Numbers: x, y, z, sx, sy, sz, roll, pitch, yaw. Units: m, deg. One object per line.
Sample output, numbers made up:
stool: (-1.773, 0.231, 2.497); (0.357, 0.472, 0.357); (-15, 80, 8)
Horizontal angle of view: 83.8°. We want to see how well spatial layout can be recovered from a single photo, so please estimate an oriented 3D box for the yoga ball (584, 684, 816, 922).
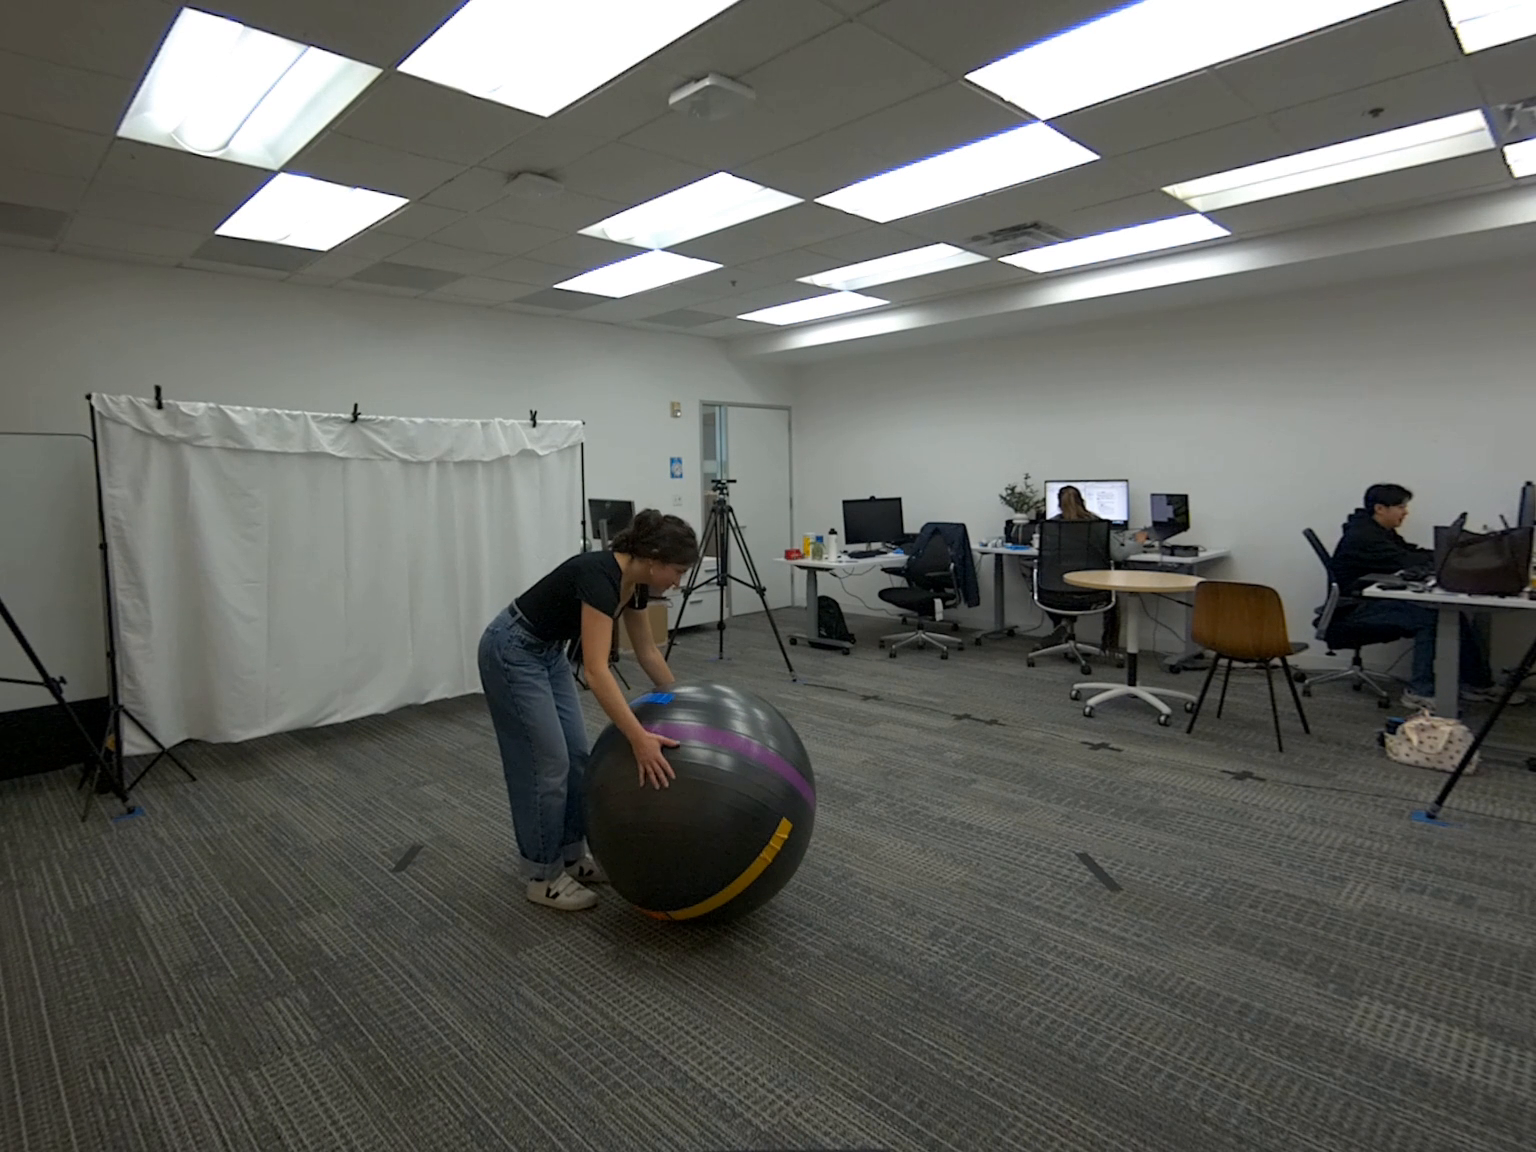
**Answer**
yoga ball: (-0.216, 0.719, 2.770); (0.757, 0.755, 0.762); (-1, 5, -2)
